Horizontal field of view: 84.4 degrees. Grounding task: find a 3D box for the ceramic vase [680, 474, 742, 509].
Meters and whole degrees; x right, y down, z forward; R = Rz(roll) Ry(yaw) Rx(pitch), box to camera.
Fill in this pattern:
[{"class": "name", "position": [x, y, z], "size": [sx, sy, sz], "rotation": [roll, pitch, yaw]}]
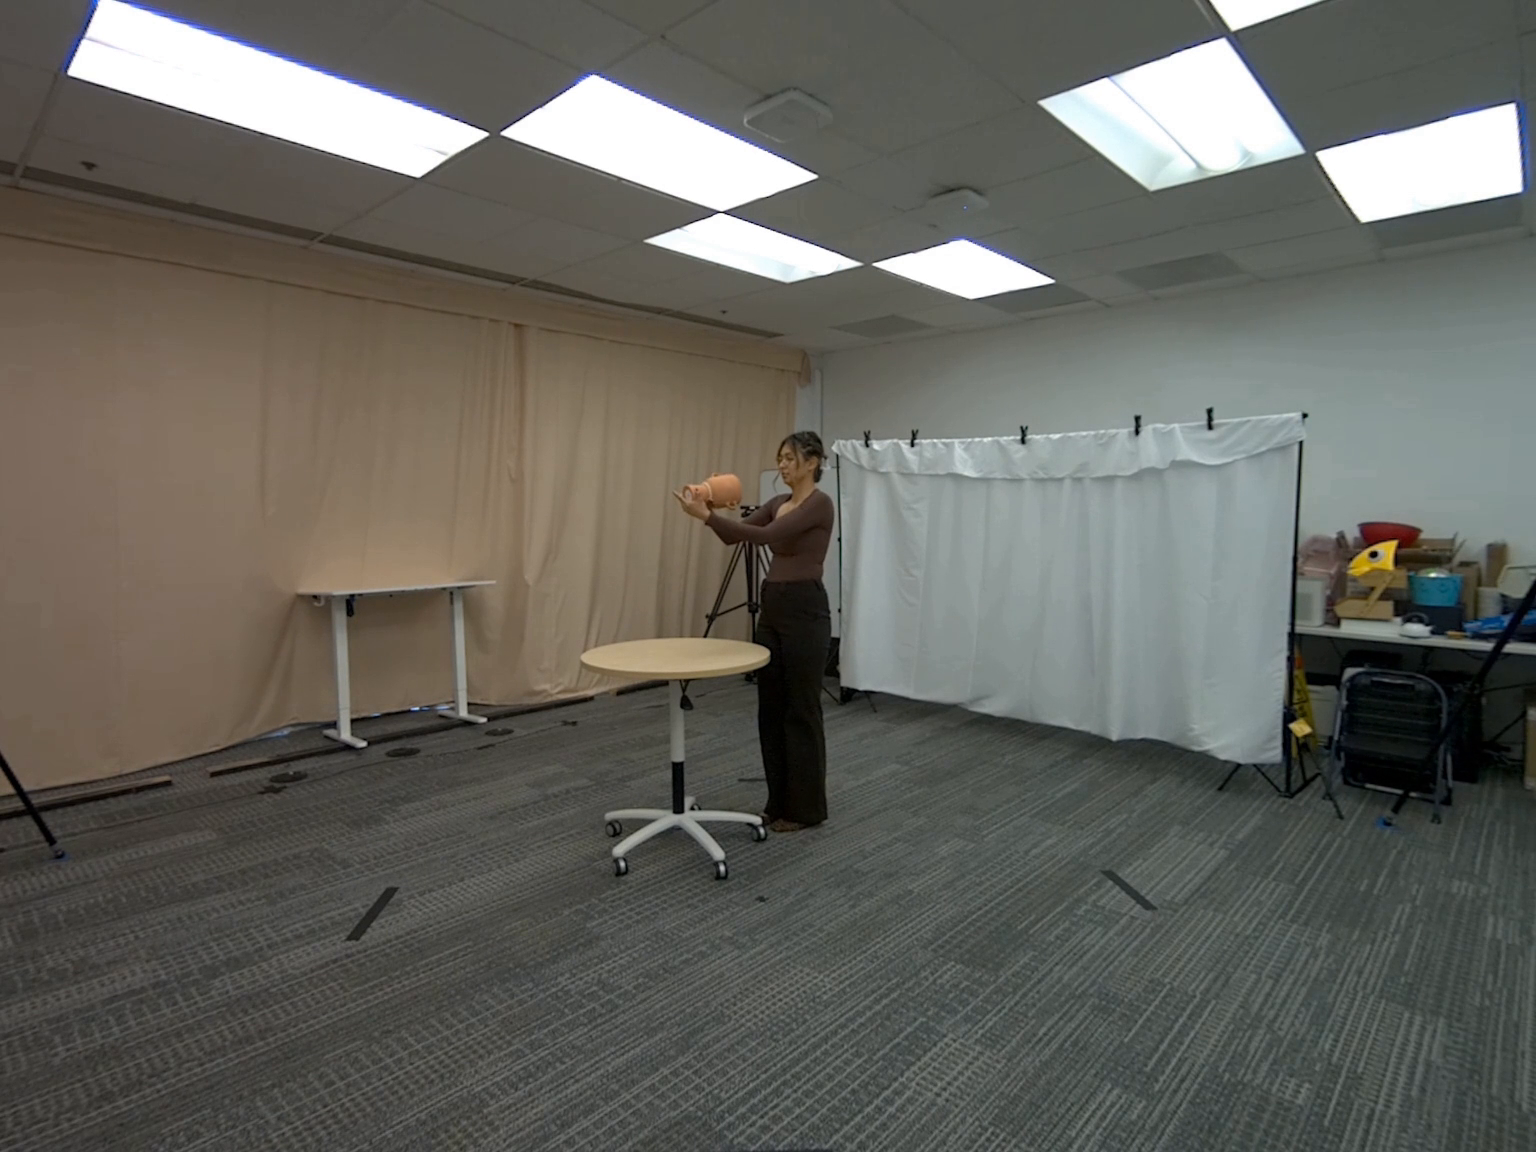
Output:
[{"class": "ceramic vase", "position": [-0.227, -0.342, 3.455], "size": [0.215, 0.133, 0.164], "rotation": [-12, 18, -28]}]
